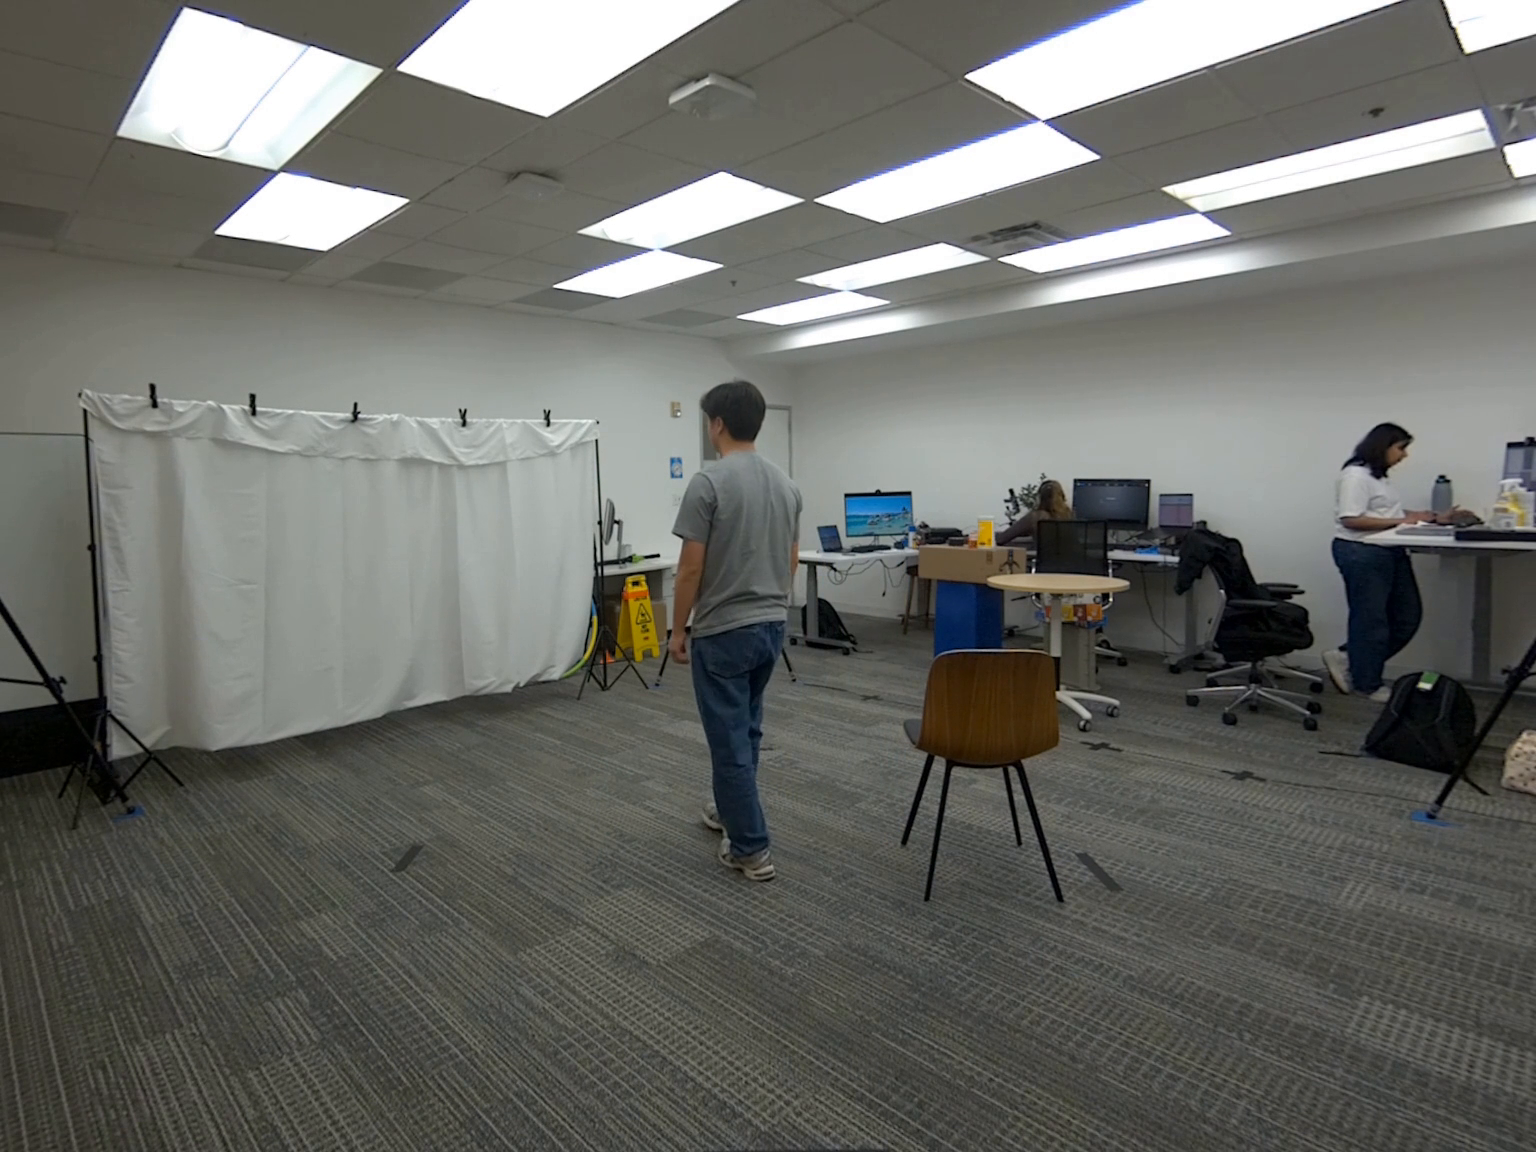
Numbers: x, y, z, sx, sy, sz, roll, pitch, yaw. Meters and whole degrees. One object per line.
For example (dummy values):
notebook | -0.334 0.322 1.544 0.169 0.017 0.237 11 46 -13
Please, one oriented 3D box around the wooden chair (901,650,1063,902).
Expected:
wooden chair | 0.721 0.617 2.993 0.479 0.871 0.526 -1 8 0
